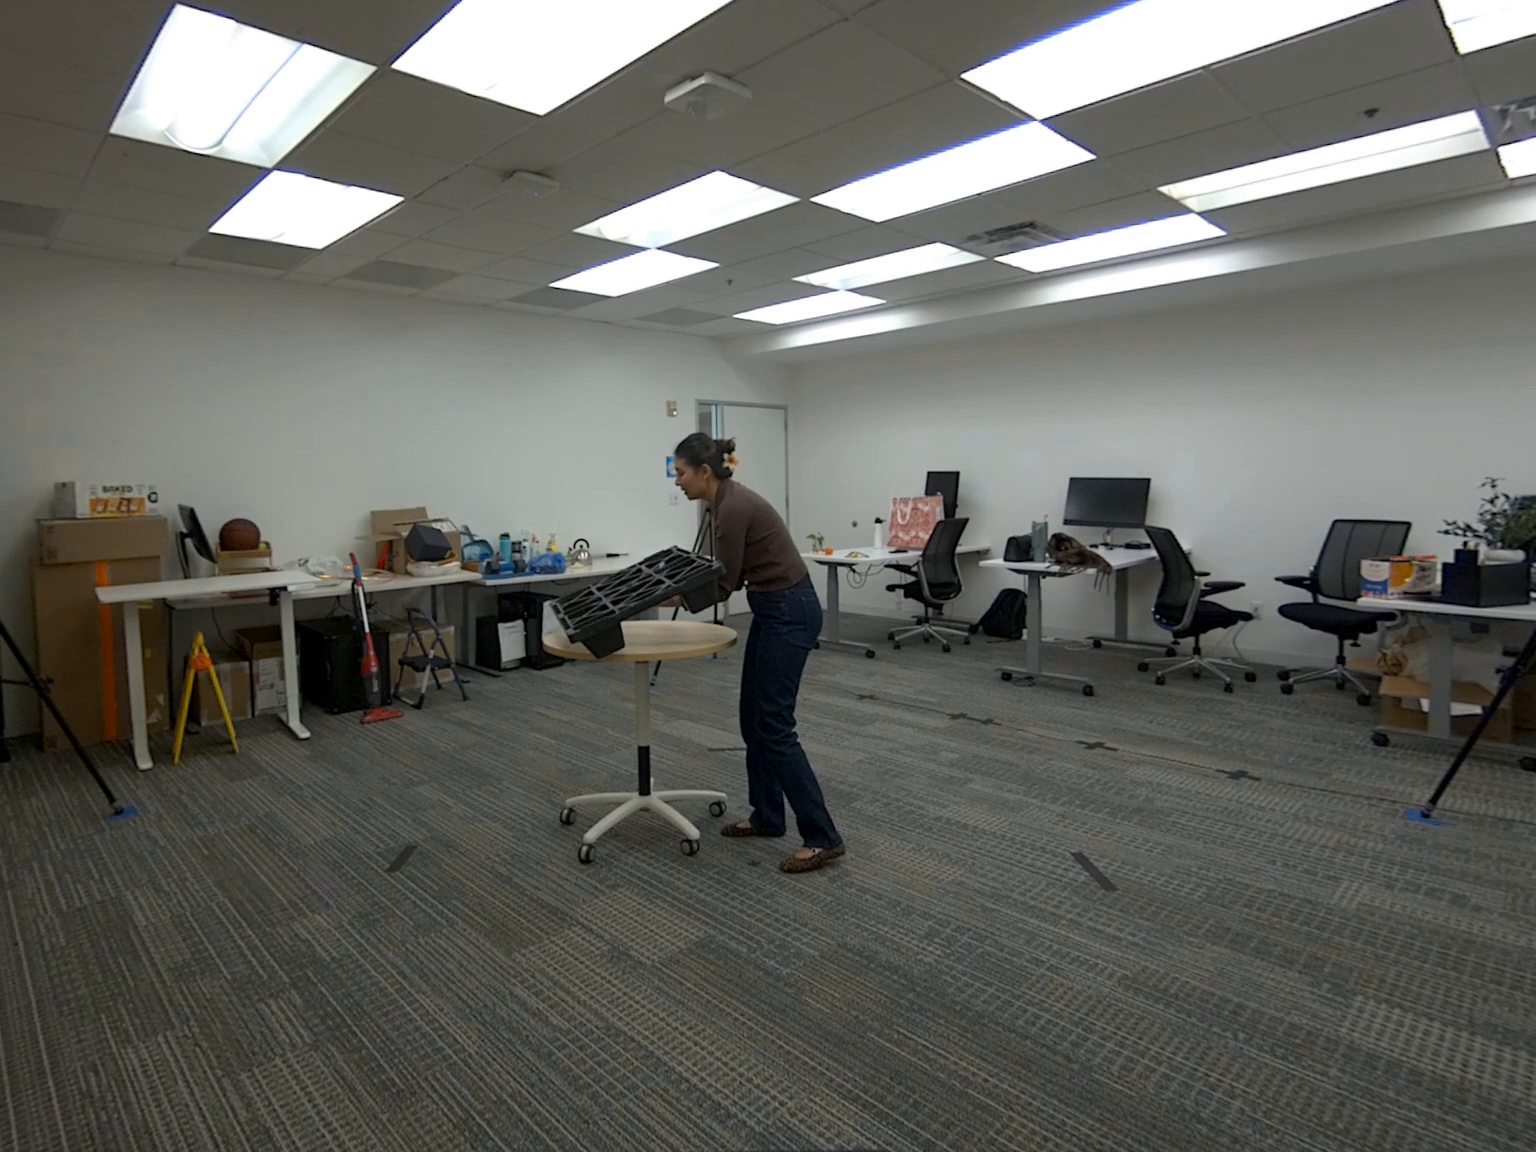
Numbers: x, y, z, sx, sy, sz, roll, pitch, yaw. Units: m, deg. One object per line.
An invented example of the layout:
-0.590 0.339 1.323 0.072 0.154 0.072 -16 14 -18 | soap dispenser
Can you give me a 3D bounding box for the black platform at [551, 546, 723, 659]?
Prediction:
-0.518 0.094 3.329 0.601 0.141 0.822 -26 14 -14 | black platform
